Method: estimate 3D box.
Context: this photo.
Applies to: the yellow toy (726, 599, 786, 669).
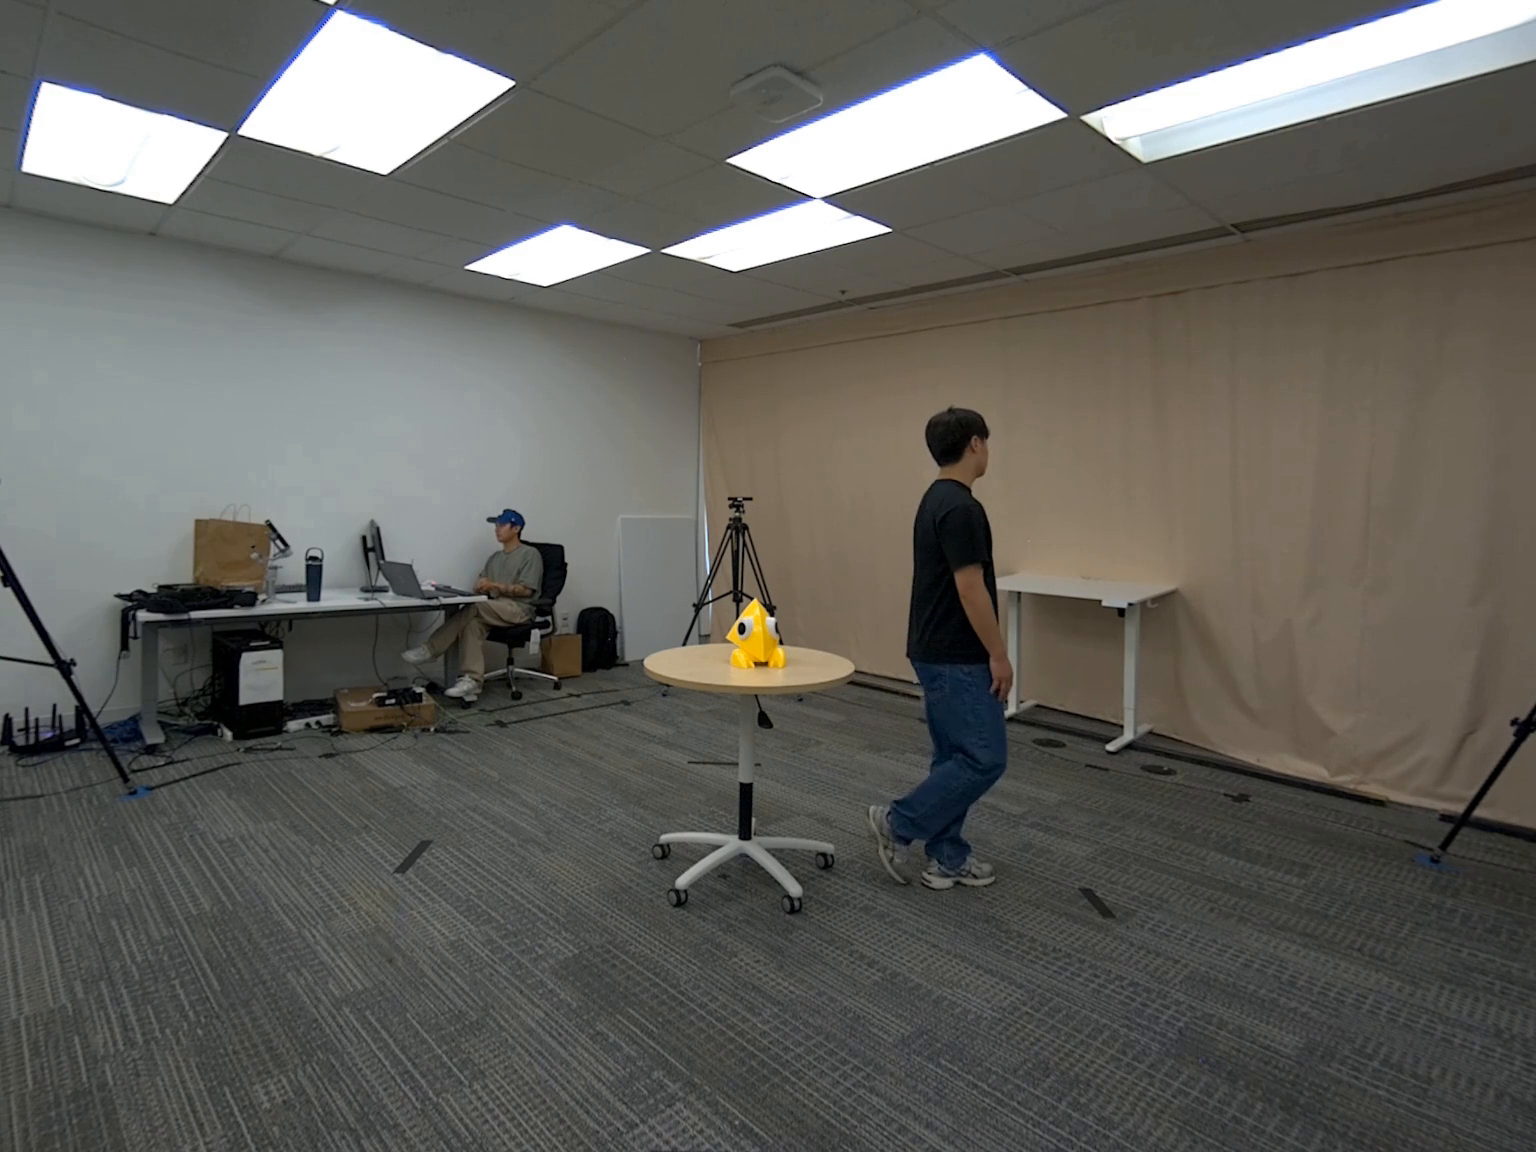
[{"bbox_3d":[-0.040,0.200,3.049,0.203,0.230,0.195,1,2,-12],"label":"yellow toy"}]
